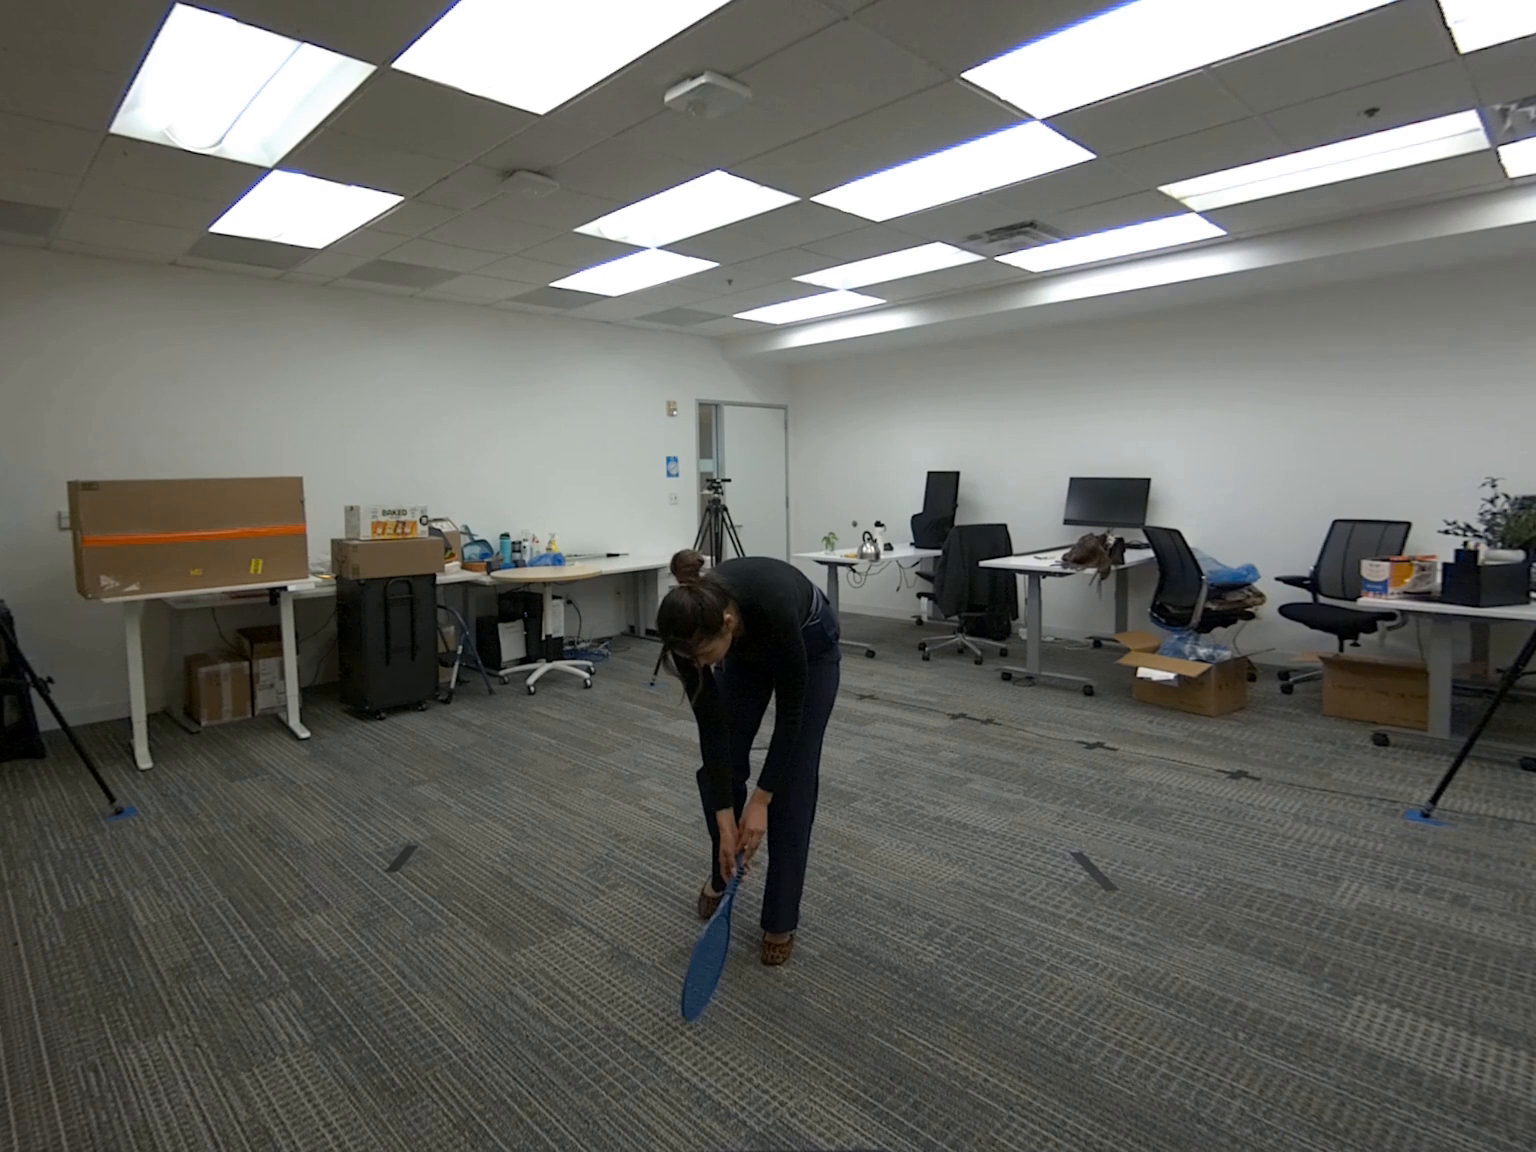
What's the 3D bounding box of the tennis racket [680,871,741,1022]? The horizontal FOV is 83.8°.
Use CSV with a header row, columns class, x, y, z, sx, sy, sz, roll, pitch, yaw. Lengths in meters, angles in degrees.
class,x,y,z,sx,sy,sz,roll,pitch,yaw
tennis racket,-0.125,0.940,2.235,0.032,0.438,0.206,8,-28,25
